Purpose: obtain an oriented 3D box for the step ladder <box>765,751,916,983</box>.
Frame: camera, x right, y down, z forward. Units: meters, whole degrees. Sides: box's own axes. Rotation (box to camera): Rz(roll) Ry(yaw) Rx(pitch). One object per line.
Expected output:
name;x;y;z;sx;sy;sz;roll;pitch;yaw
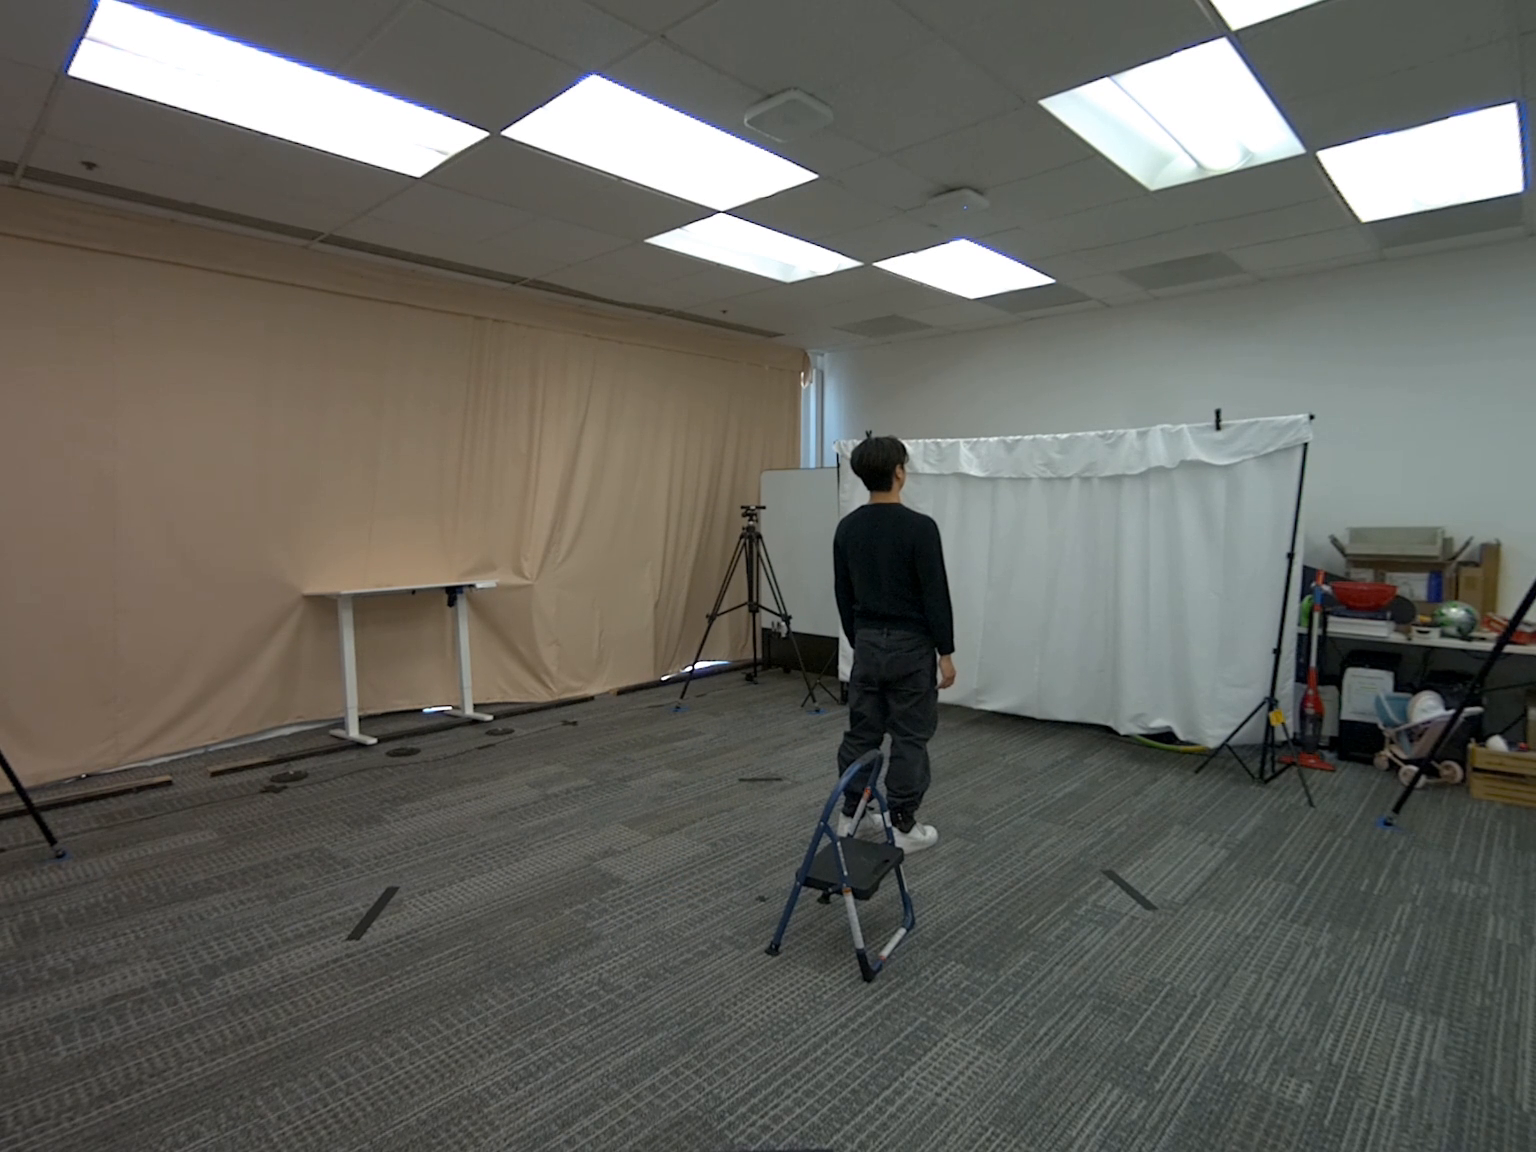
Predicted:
step ladder;0.244;0.862;2.695;0.359;0.605;0.419;2;4;29
